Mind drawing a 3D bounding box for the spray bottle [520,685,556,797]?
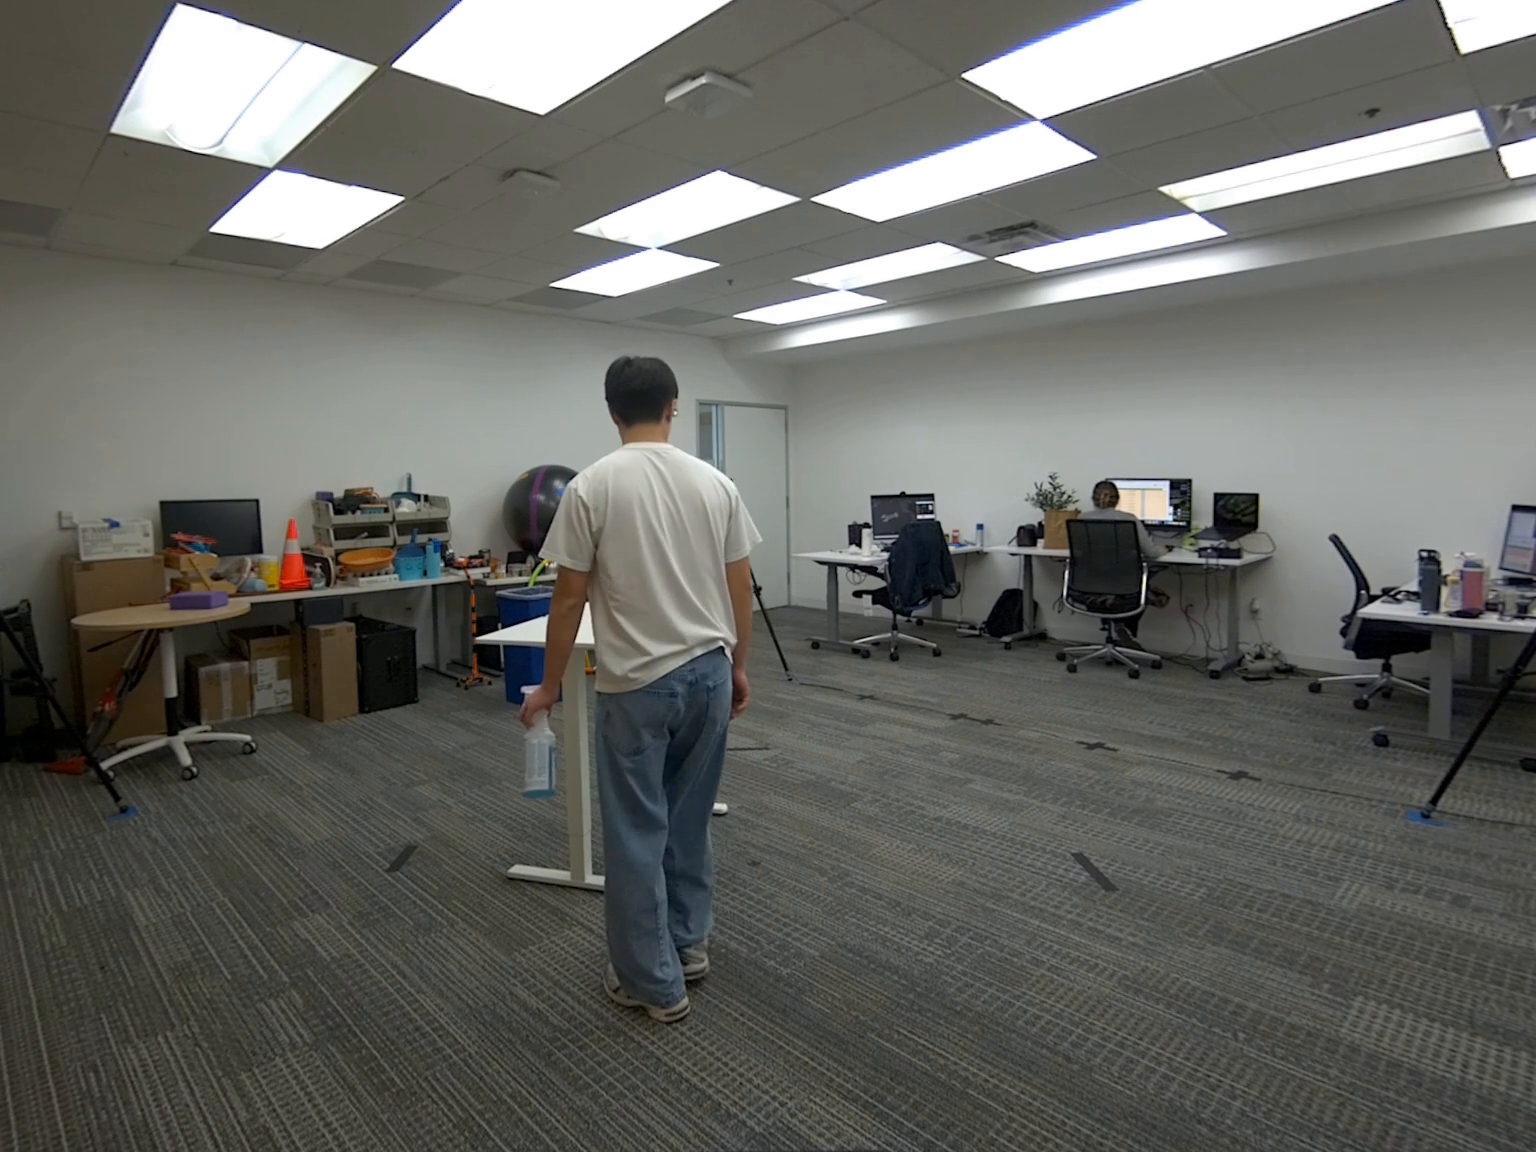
[{"bbox_3d":[-0.591,0.447,2.290,0.091,0.303,0.084,-18,-24,30],"label":"spray bottle"}]
